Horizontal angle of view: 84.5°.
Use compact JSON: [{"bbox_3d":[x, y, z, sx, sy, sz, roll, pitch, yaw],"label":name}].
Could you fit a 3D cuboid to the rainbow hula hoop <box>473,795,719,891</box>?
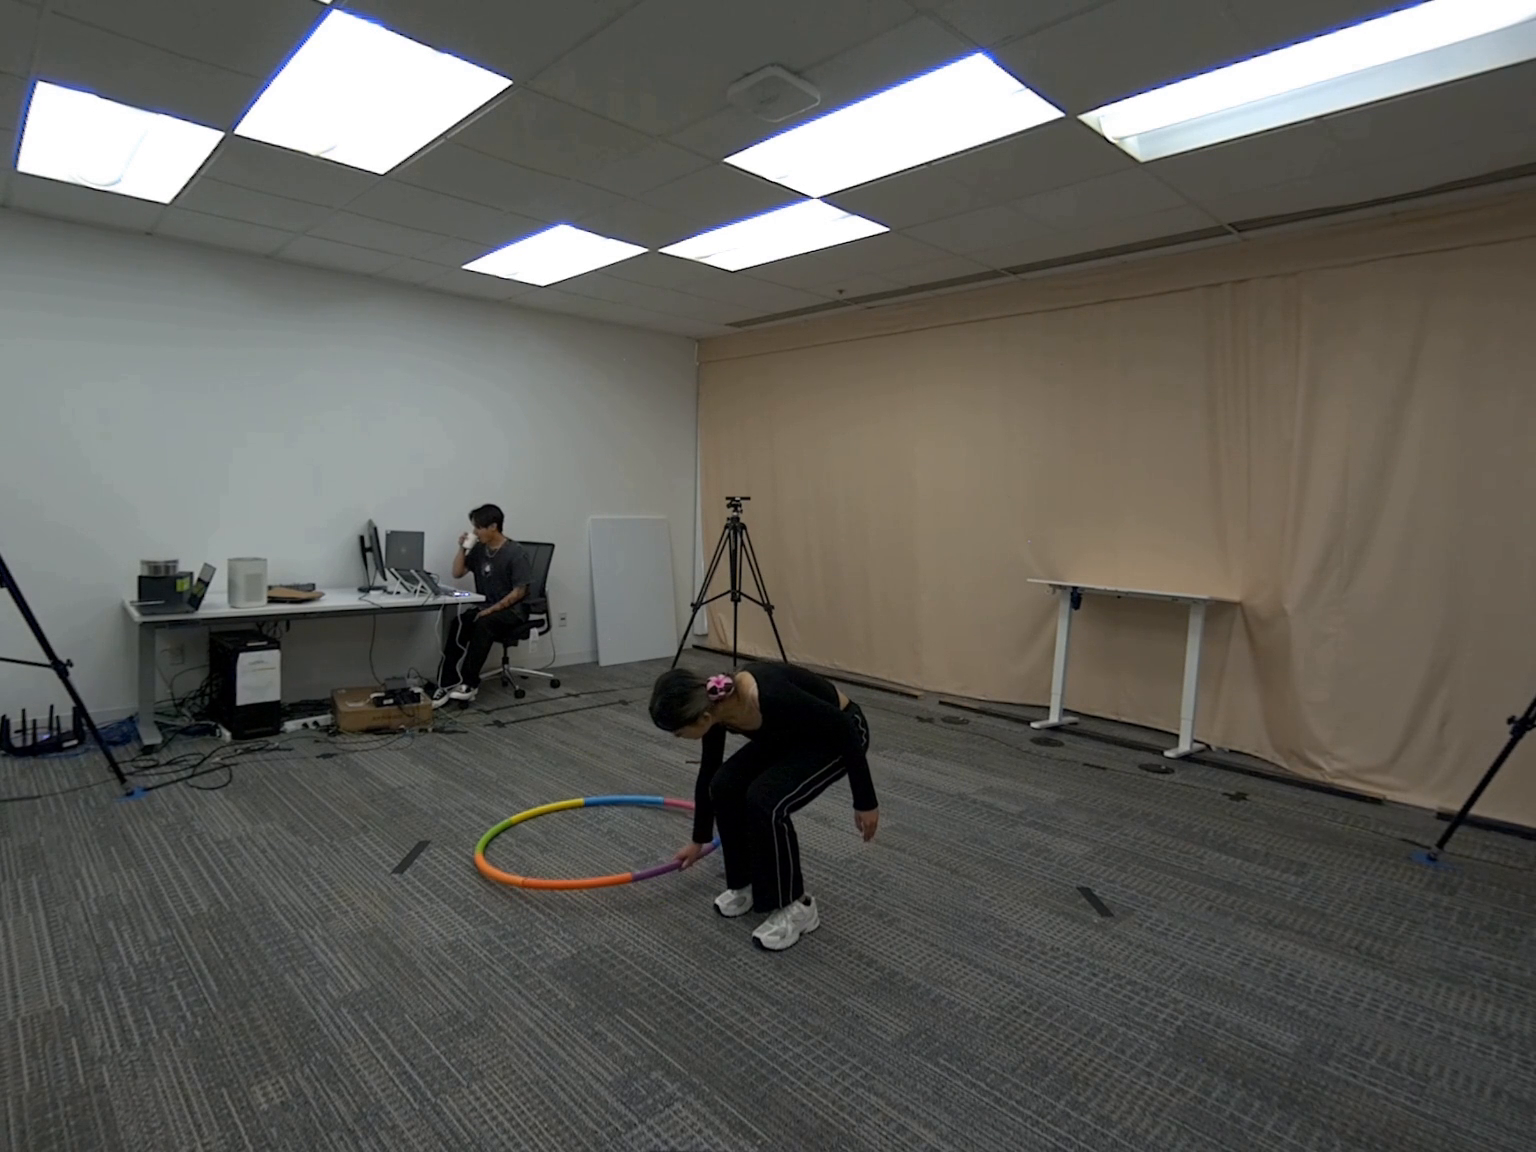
[{"bbox_3d":[-0.652,1.013,3.314,0.978,0.035,0.980,-2,3,-1],"label":"rainbow hula hoop"}]
